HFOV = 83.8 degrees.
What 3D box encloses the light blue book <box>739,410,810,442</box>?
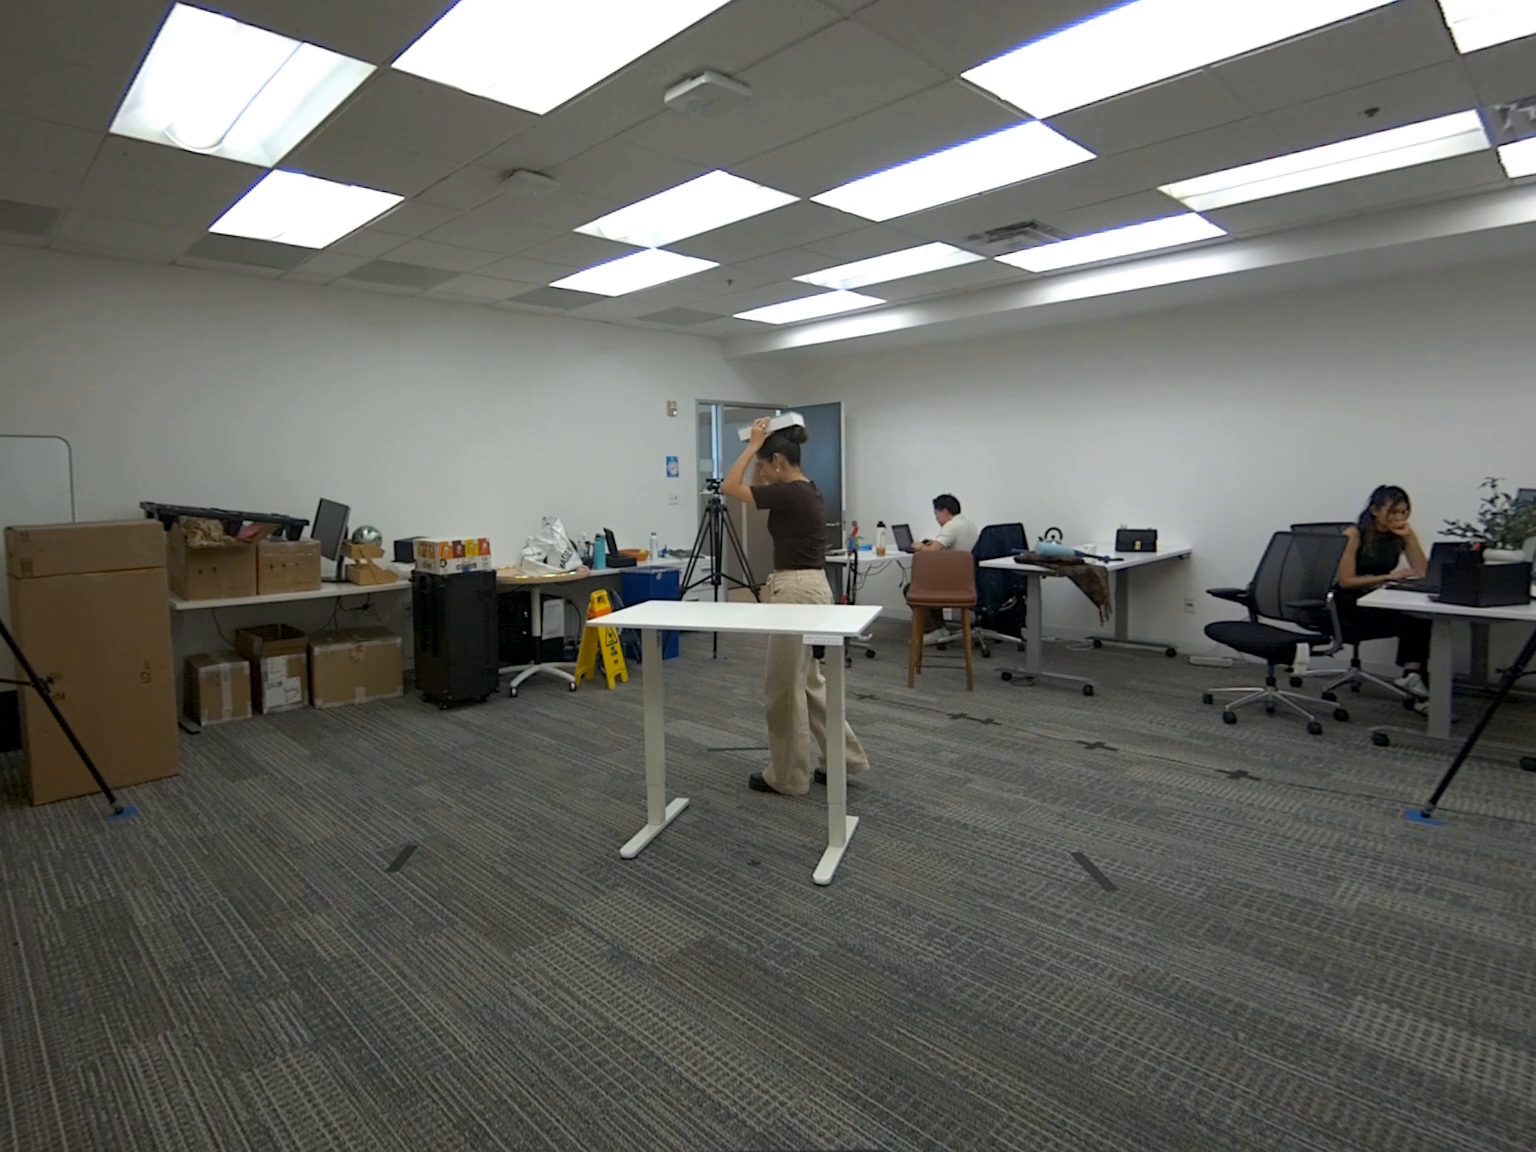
[{"bbox_3d":[0.029,-0.665,3.810,0.264,0.059,0.189,-13,2,19],"label":"light blue book"}]
